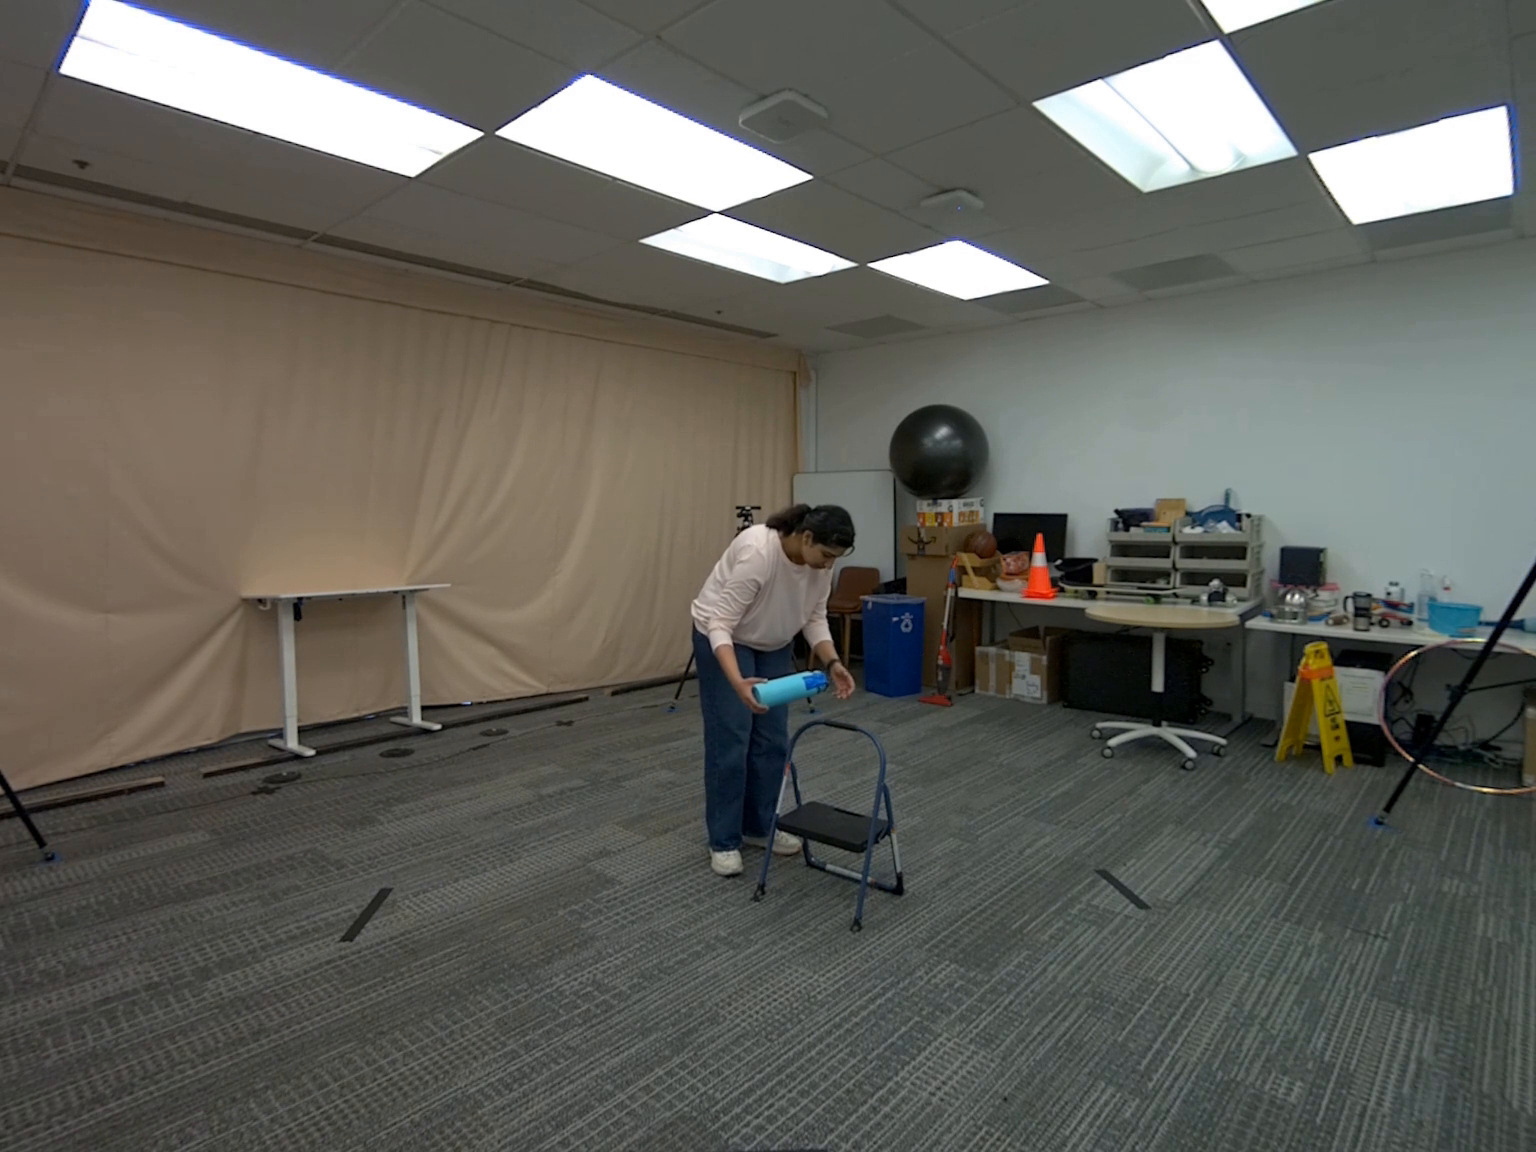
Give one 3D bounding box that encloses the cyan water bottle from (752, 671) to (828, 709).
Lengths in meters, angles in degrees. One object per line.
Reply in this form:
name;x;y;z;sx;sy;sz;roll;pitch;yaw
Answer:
cyan water bottle;0.089;0.406;2.959;0.279;0.092;0.094;-7;6;-16
